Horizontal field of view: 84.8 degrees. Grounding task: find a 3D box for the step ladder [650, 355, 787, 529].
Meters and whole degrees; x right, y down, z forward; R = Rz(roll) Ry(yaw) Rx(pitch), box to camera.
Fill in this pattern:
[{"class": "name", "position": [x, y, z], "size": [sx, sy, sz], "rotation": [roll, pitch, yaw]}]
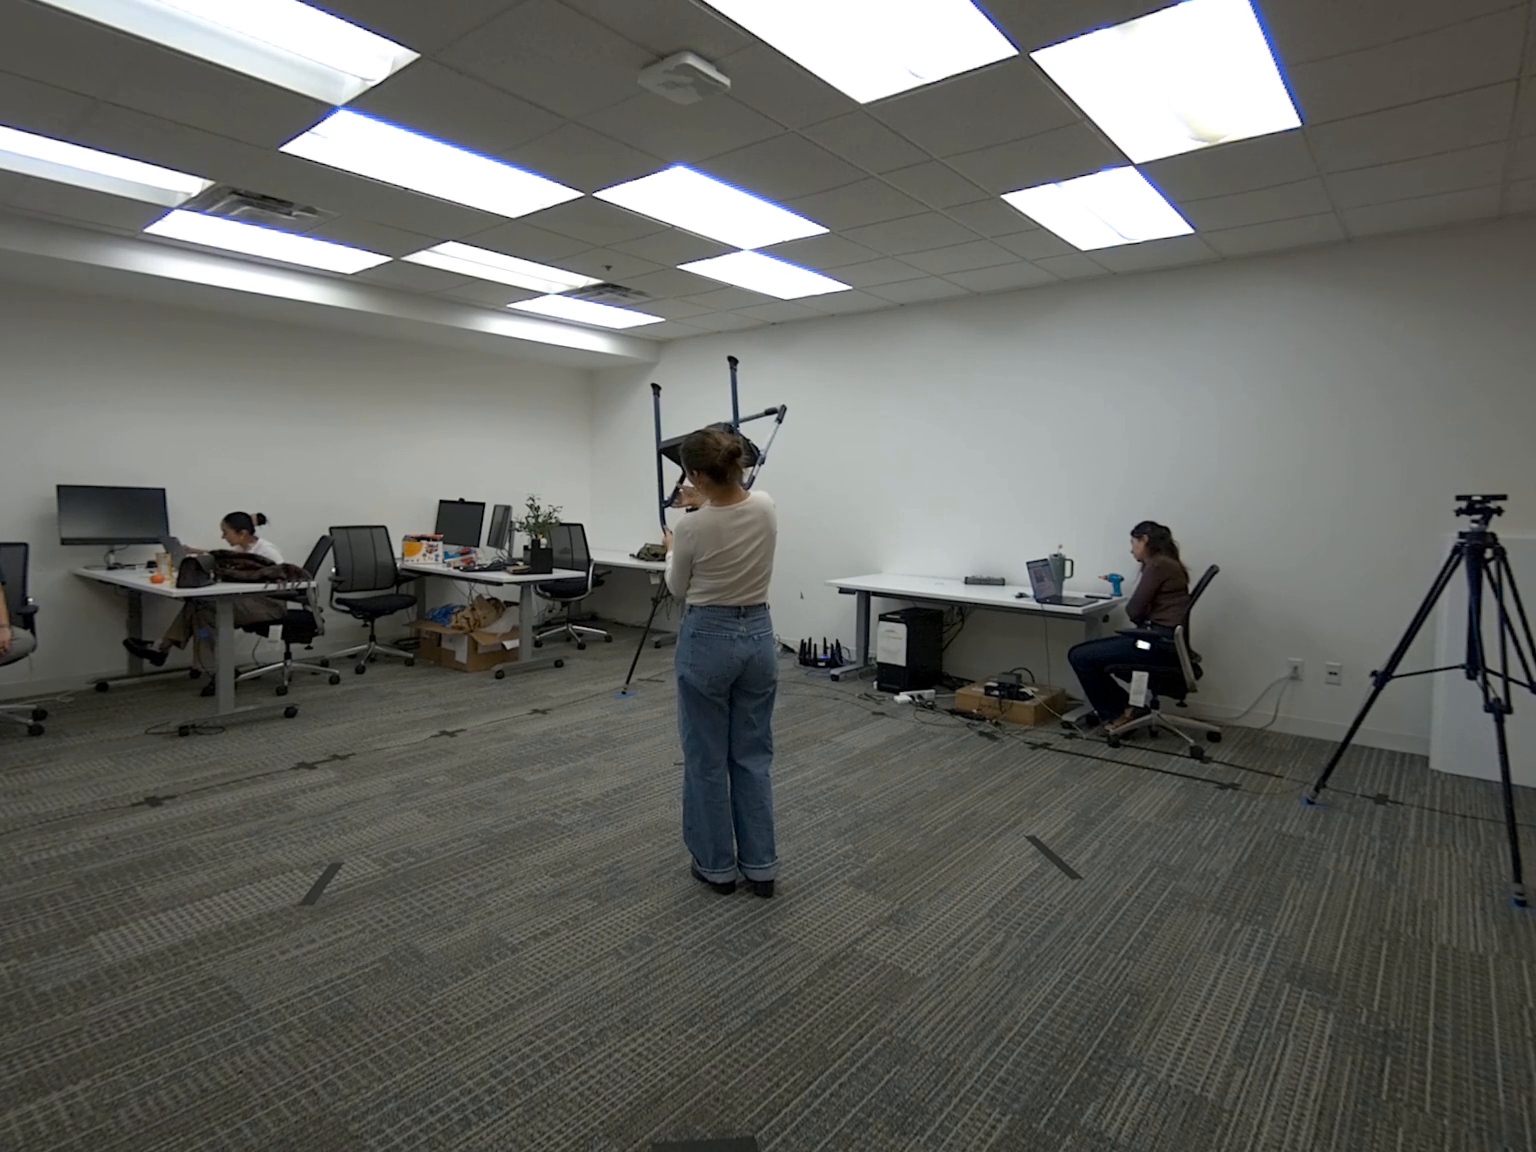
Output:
[{"class": "step ladder", "position": [-0.249, -0.421, 3.160], "size": [0.442, 0.615, 0.335], "rotation": [-9, -29, 40]}]
